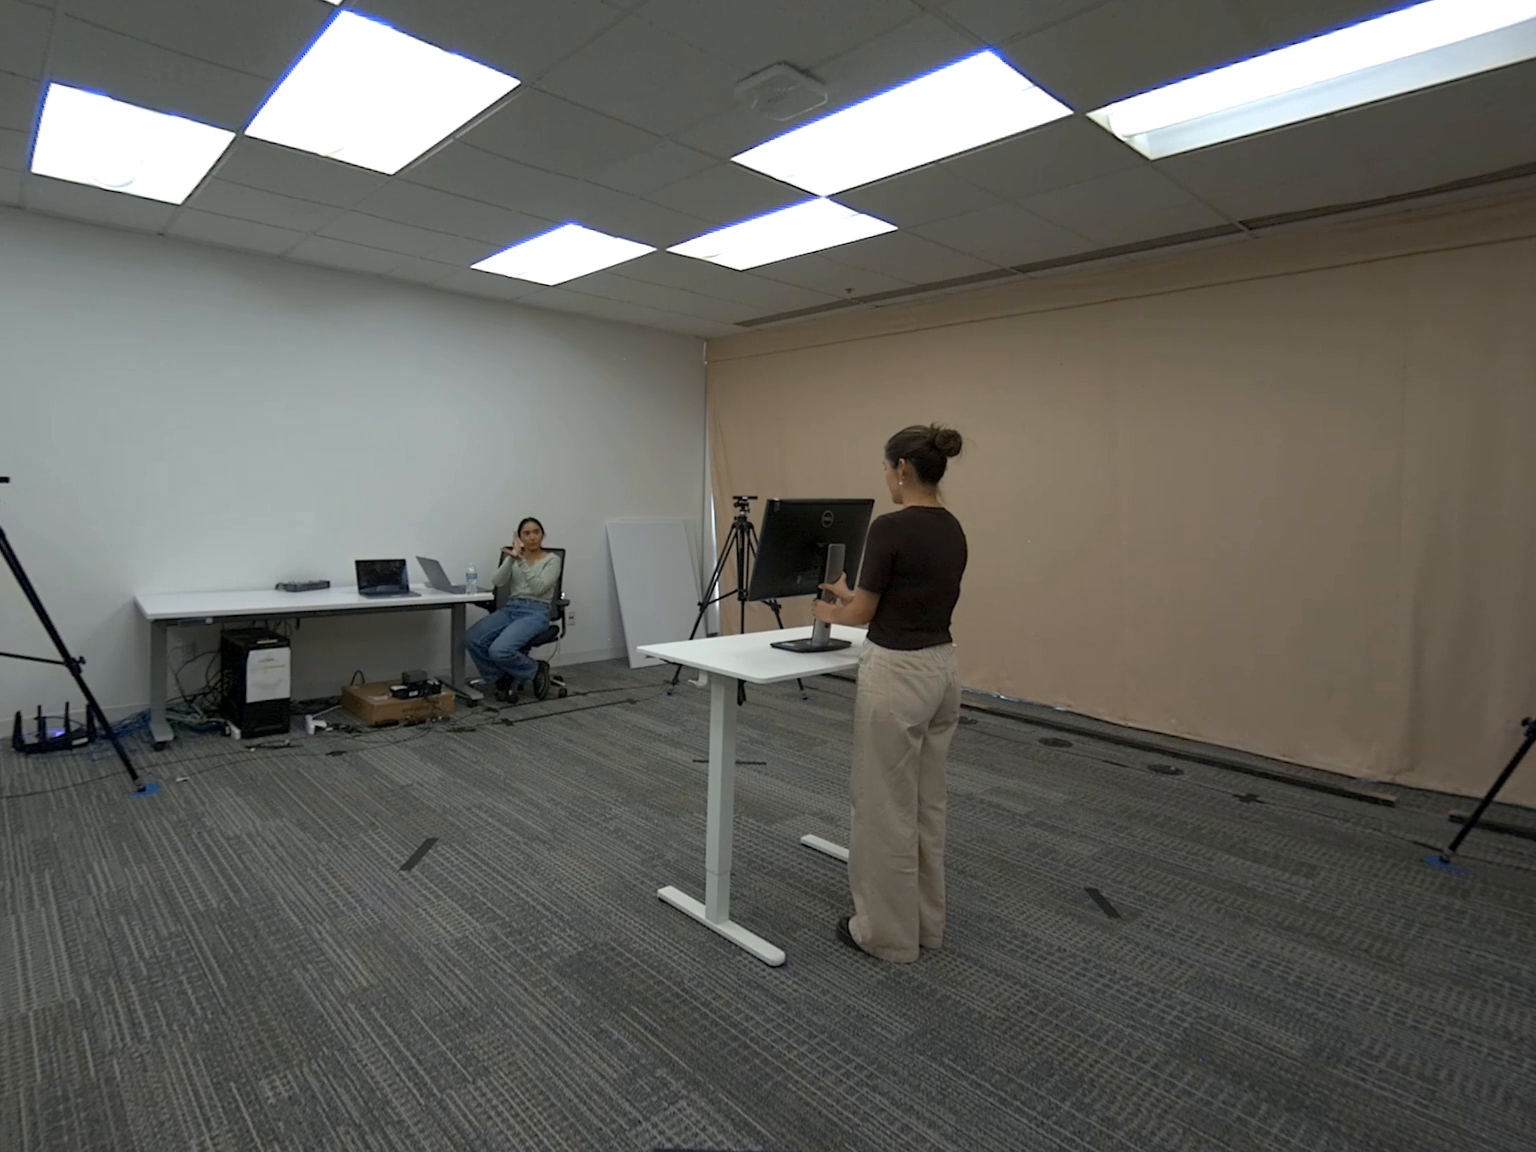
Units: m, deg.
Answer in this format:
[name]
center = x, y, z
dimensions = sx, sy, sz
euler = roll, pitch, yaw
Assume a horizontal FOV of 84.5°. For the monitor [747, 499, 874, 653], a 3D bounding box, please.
[monitor]
center = 0.164, -0.006, 2.895
dimensions = 0.527, 0.521, 0.192
euler = -3, 7, -44
